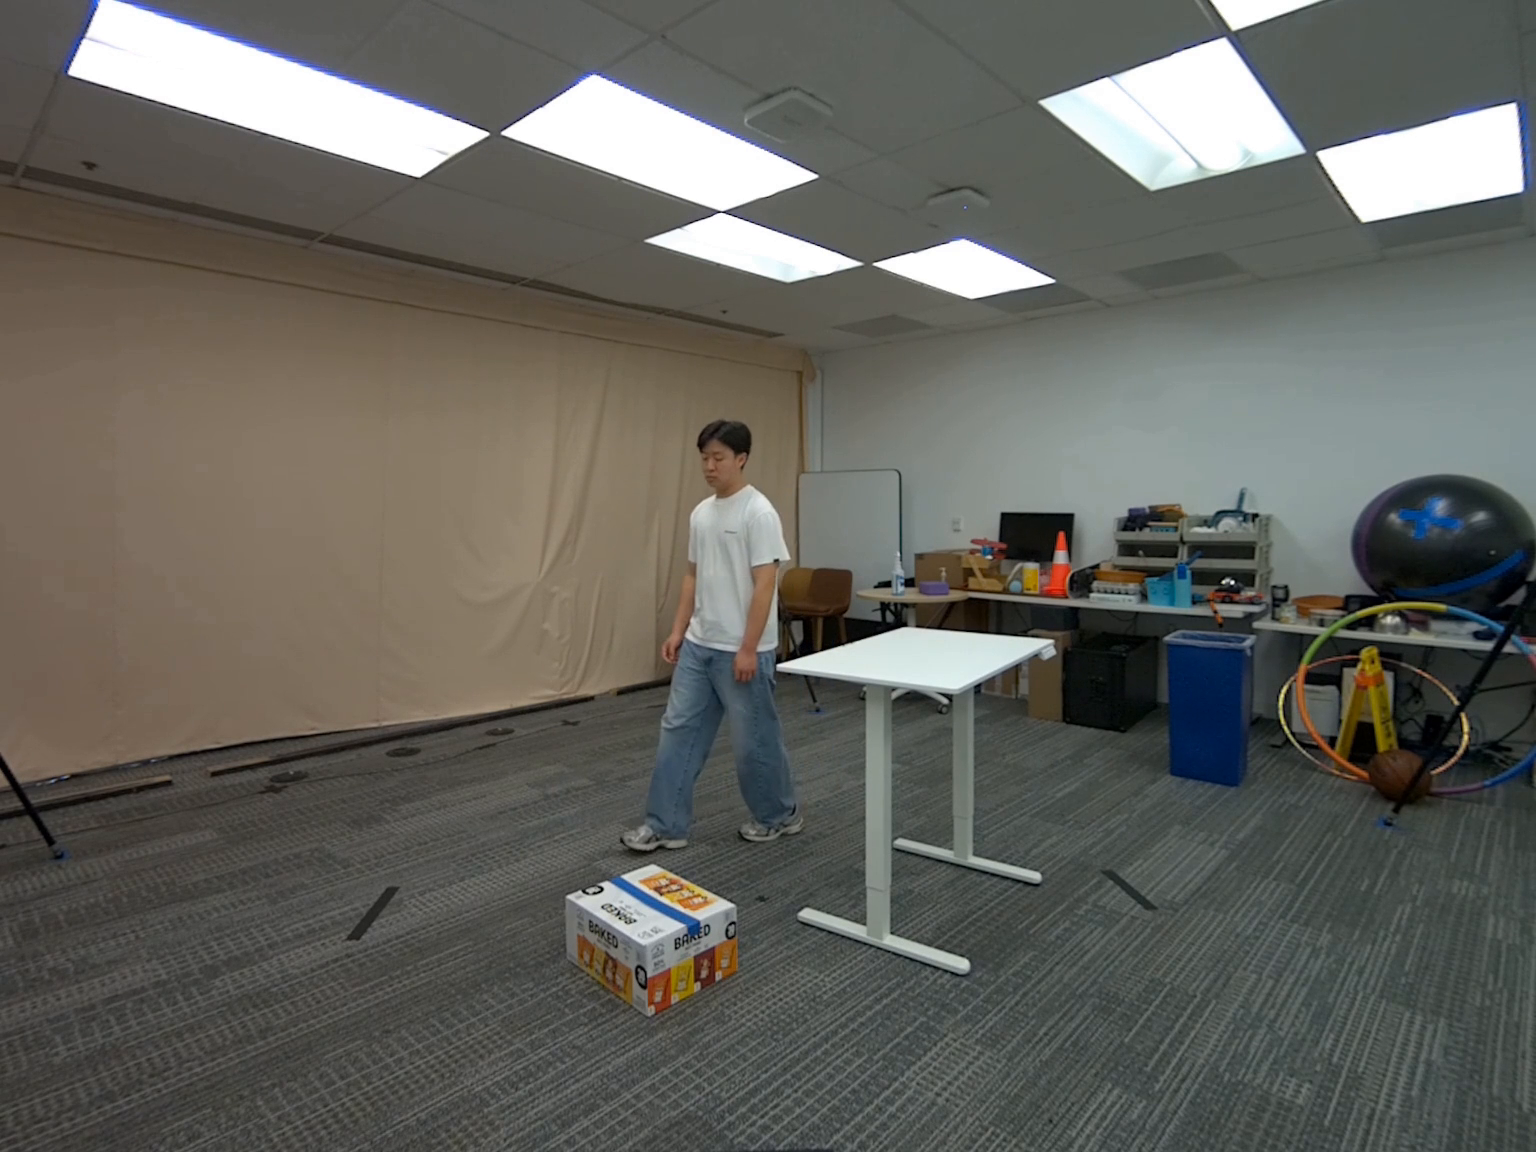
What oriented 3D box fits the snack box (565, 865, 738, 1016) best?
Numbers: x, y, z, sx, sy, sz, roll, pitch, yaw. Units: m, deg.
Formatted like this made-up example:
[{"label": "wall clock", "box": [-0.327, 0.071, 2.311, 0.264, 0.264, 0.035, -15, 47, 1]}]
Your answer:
[{"label": "snack box", "box": [-0.354, 1.076, 2.547, 0.330, 0.205, 0.419, -4, 6, -44]}]
